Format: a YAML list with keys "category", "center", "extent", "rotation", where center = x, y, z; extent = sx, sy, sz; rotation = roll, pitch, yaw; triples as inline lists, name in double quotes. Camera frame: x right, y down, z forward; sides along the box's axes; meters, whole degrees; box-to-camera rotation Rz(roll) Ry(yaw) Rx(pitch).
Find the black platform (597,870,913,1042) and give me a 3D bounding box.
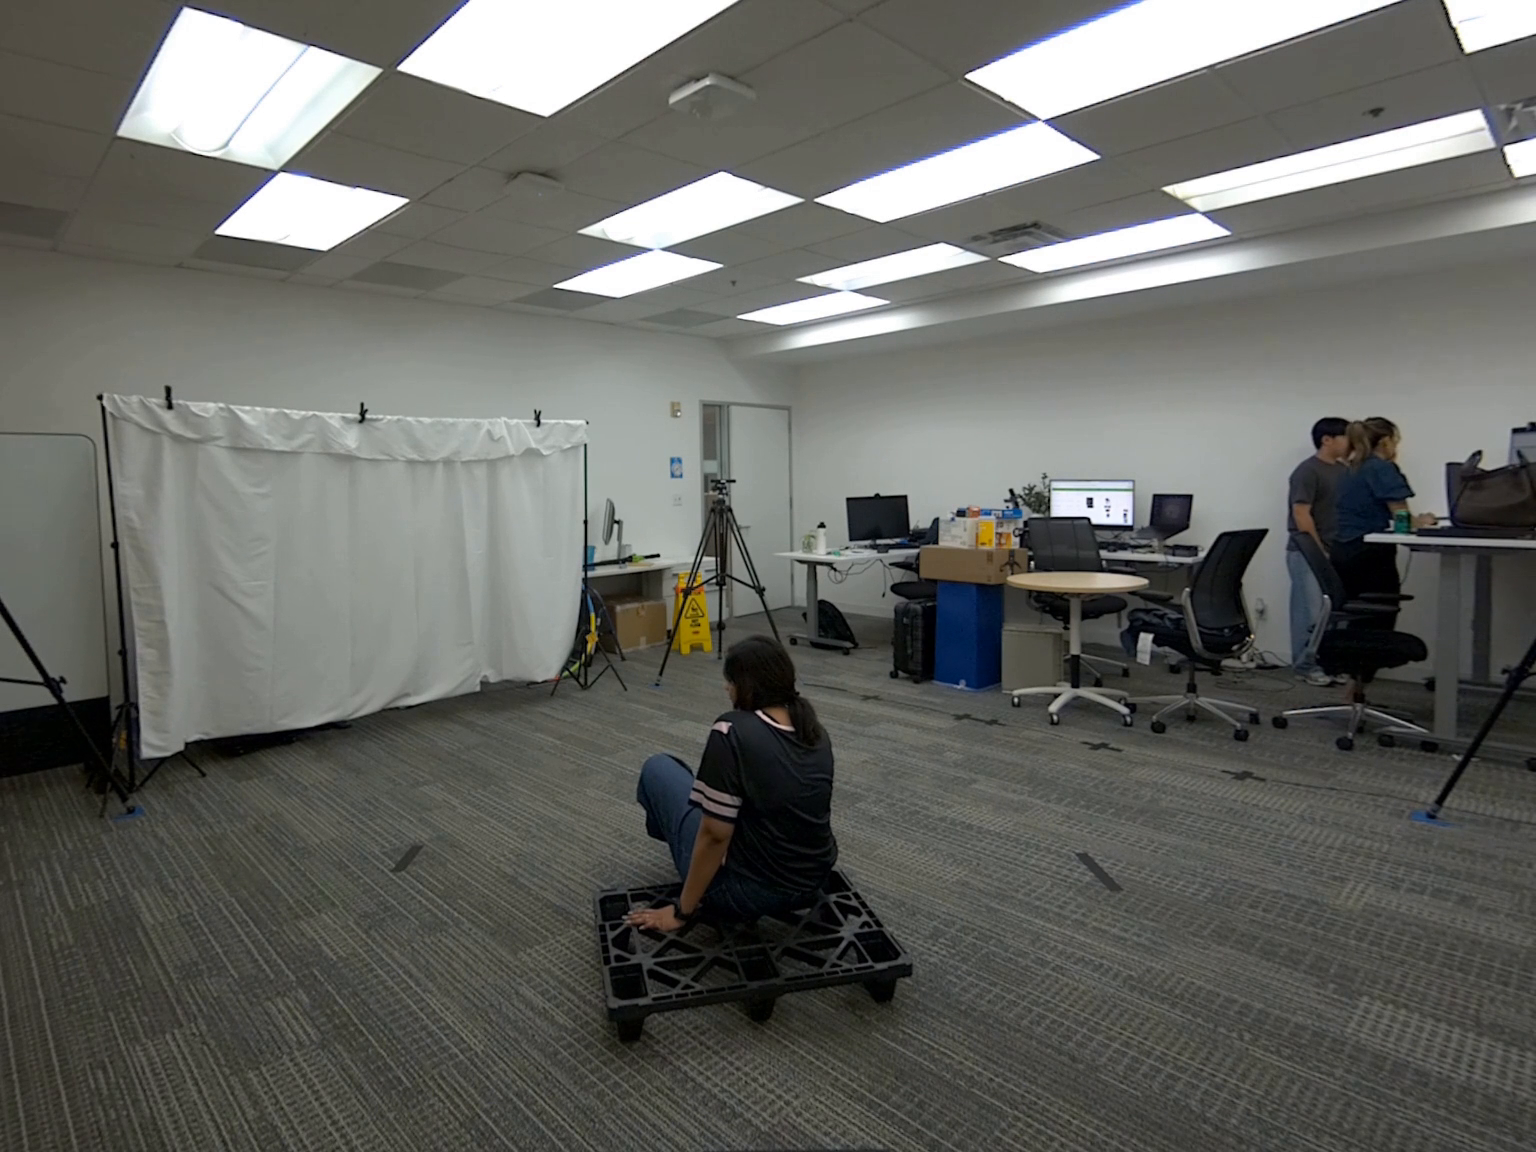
- category: "black platform"
  center: [-0.081, 1.057, 2.434]
  extent: [0.796, 0.142, 0.615]
  rotation: [-2, 7, -13]
